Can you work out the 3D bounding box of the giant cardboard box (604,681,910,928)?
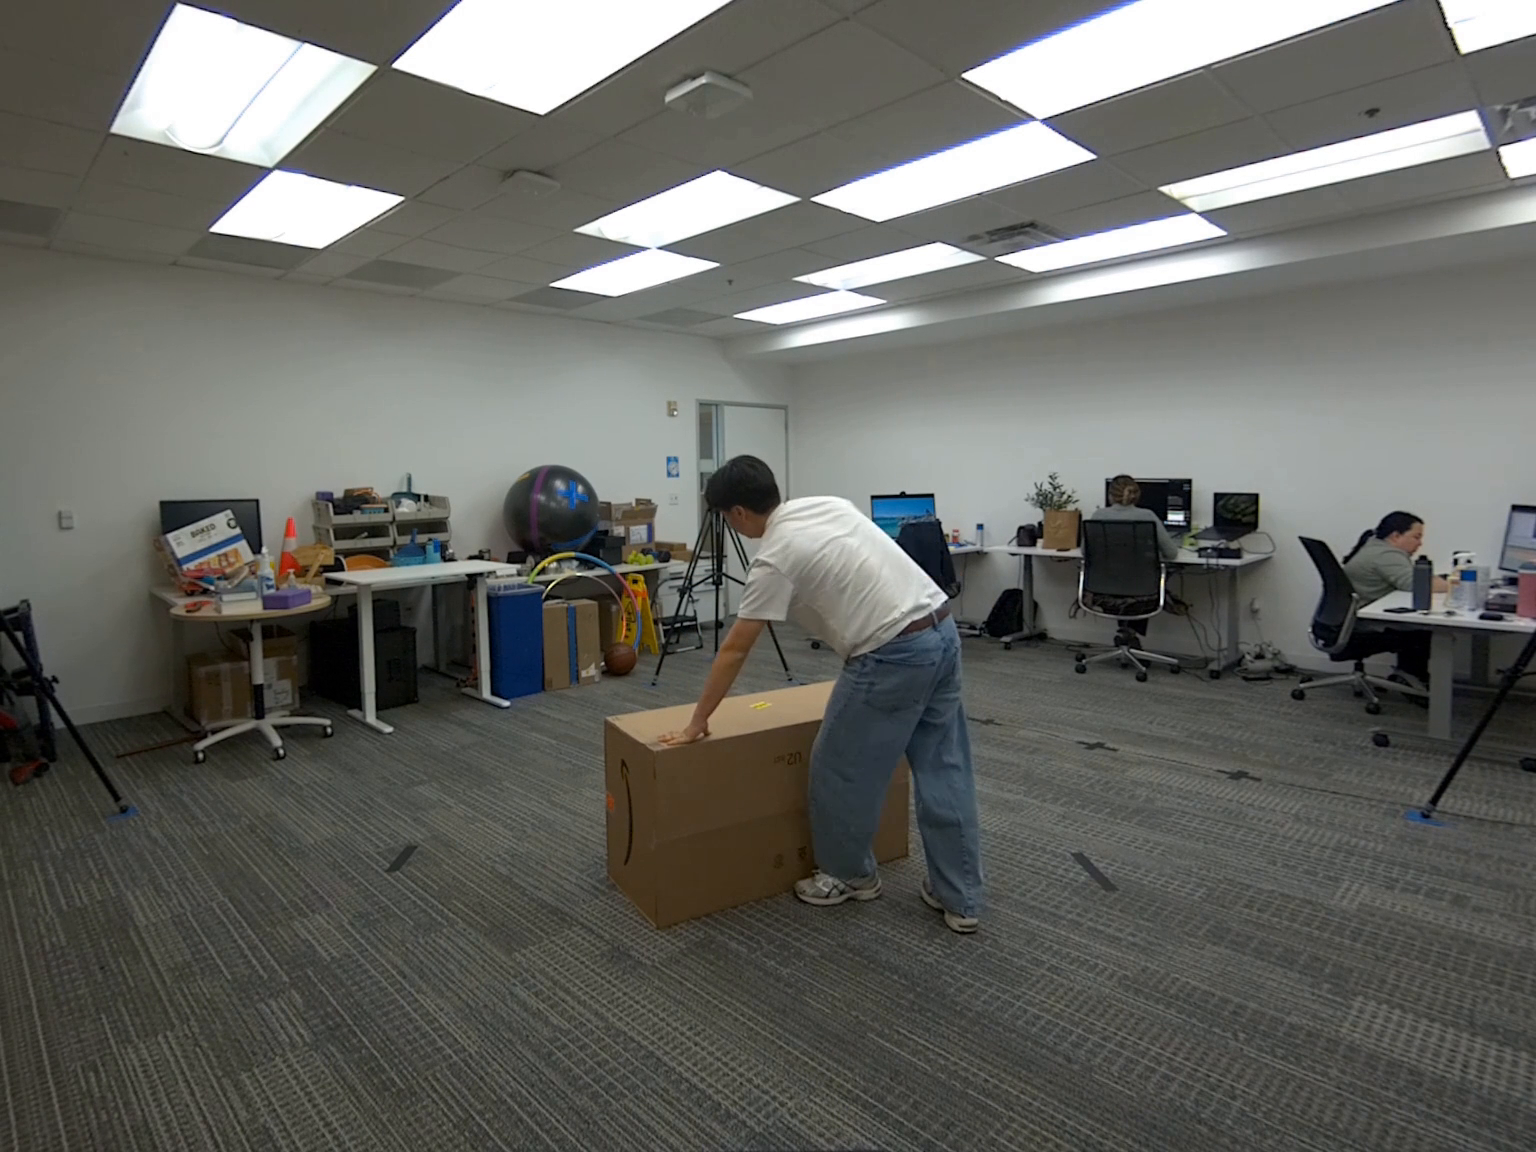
[{"bbox_3d":[-0.029,0.762,3.069,1.002,0.575,0.438,-4,6,-29],"label":"giant cardboard box"}]
